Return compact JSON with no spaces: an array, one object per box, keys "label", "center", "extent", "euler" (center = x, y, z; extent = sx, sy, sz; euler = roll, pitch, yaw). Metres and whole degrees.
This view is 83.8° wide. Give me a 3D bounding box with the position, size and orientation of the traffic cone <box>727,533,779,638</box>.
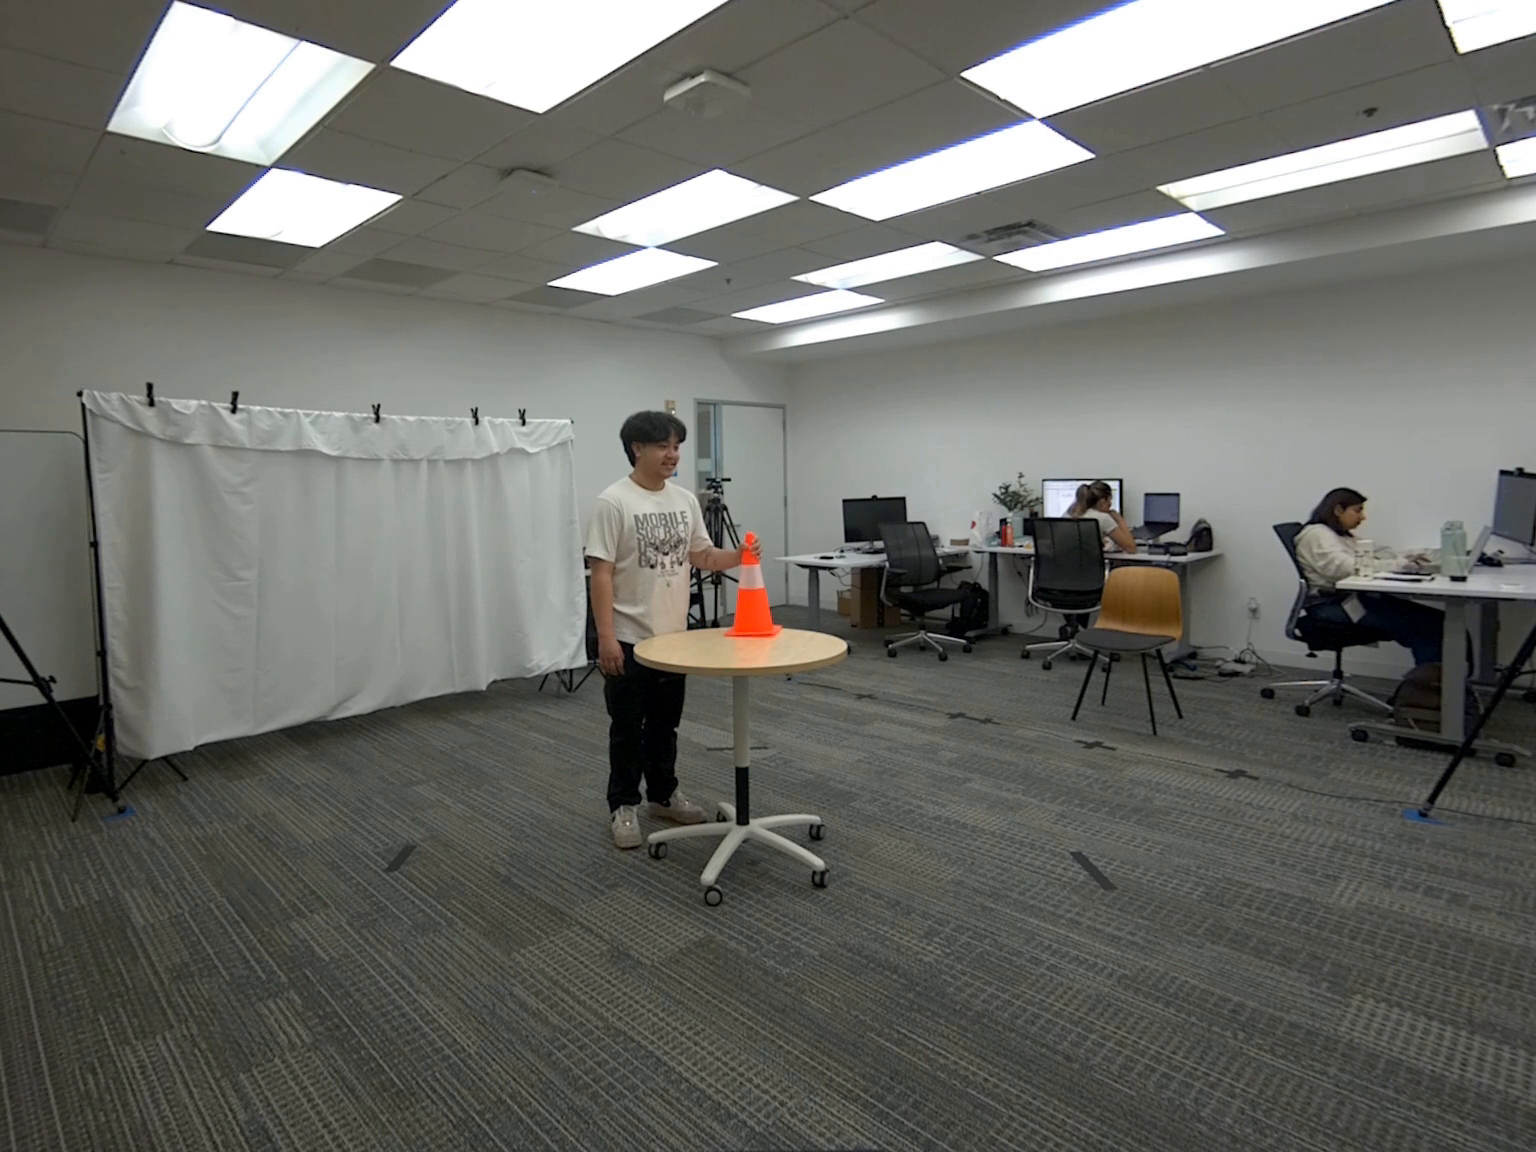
[{"label":"traffic cone","center":[-0.077,0.023,3.314],"extent":[0.206,0.382,0.203],"euler":[-2,5,11]}]
